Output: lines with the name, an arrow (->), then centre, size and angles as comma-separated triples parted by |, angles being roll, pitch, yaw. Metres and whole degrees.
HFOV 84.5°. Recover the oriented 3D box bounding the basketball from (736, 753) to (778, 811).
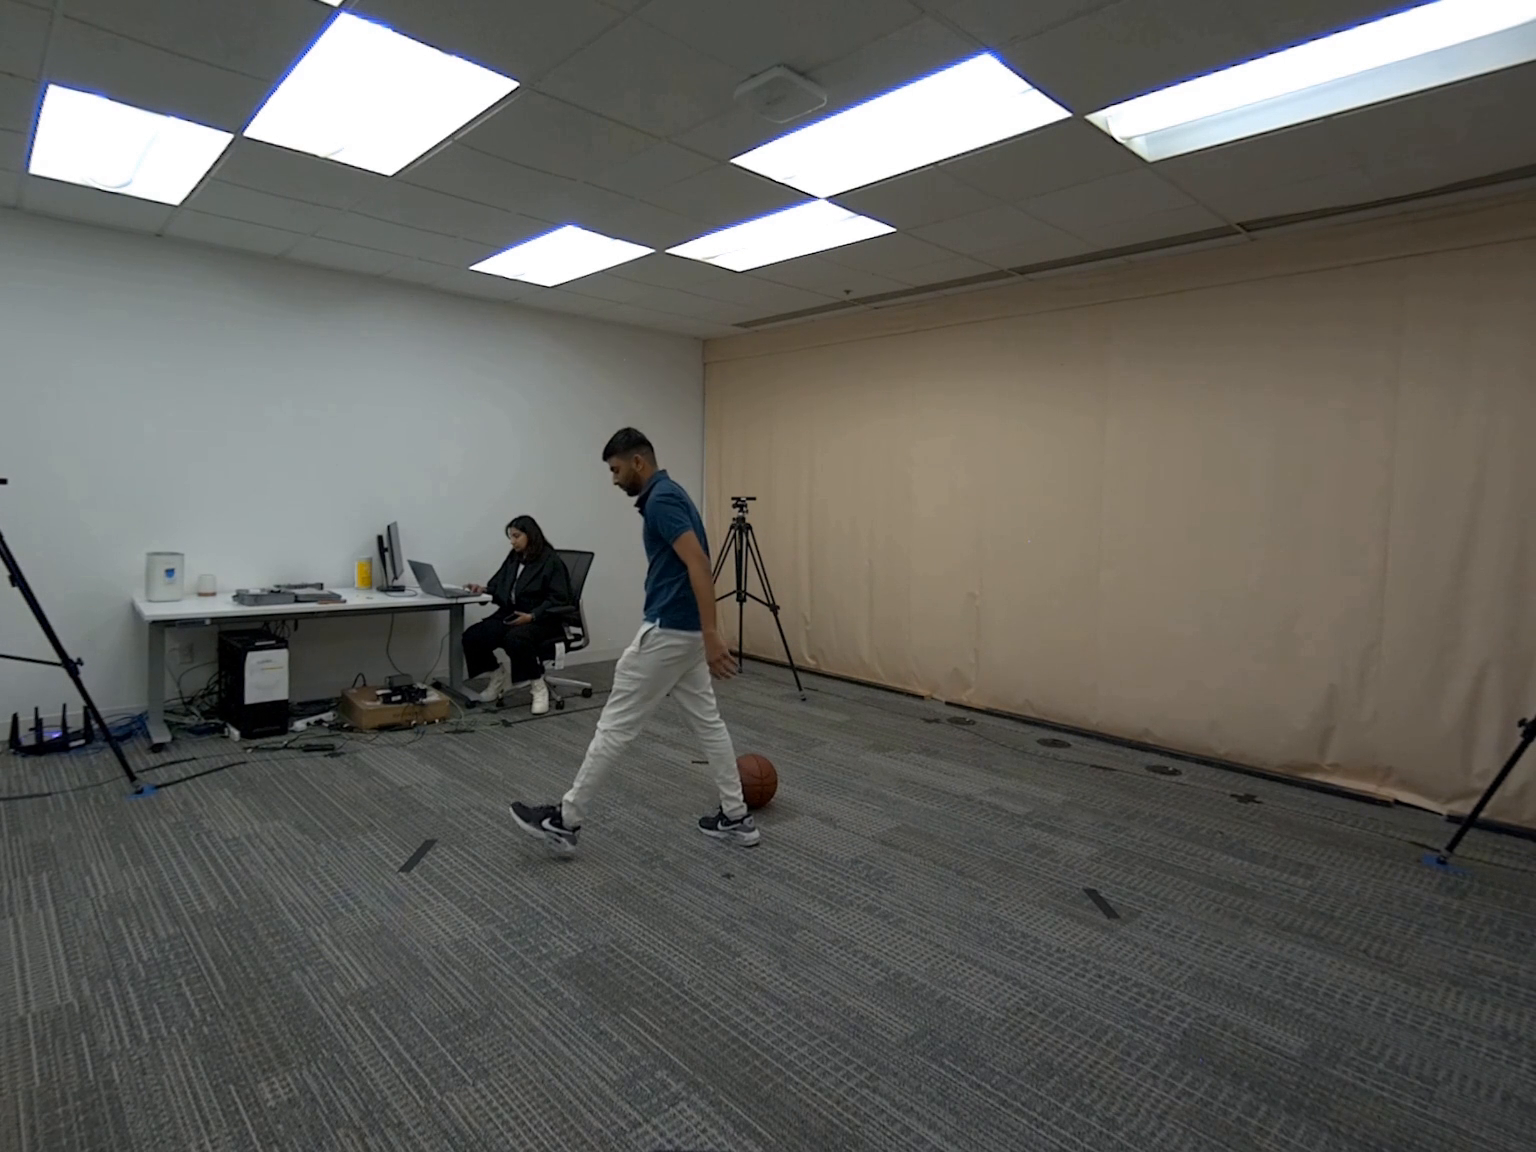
basketball -> -0.083, 0.926, 3.817 | 0.236, 0.235, 0.237 | 1, 4, -1
